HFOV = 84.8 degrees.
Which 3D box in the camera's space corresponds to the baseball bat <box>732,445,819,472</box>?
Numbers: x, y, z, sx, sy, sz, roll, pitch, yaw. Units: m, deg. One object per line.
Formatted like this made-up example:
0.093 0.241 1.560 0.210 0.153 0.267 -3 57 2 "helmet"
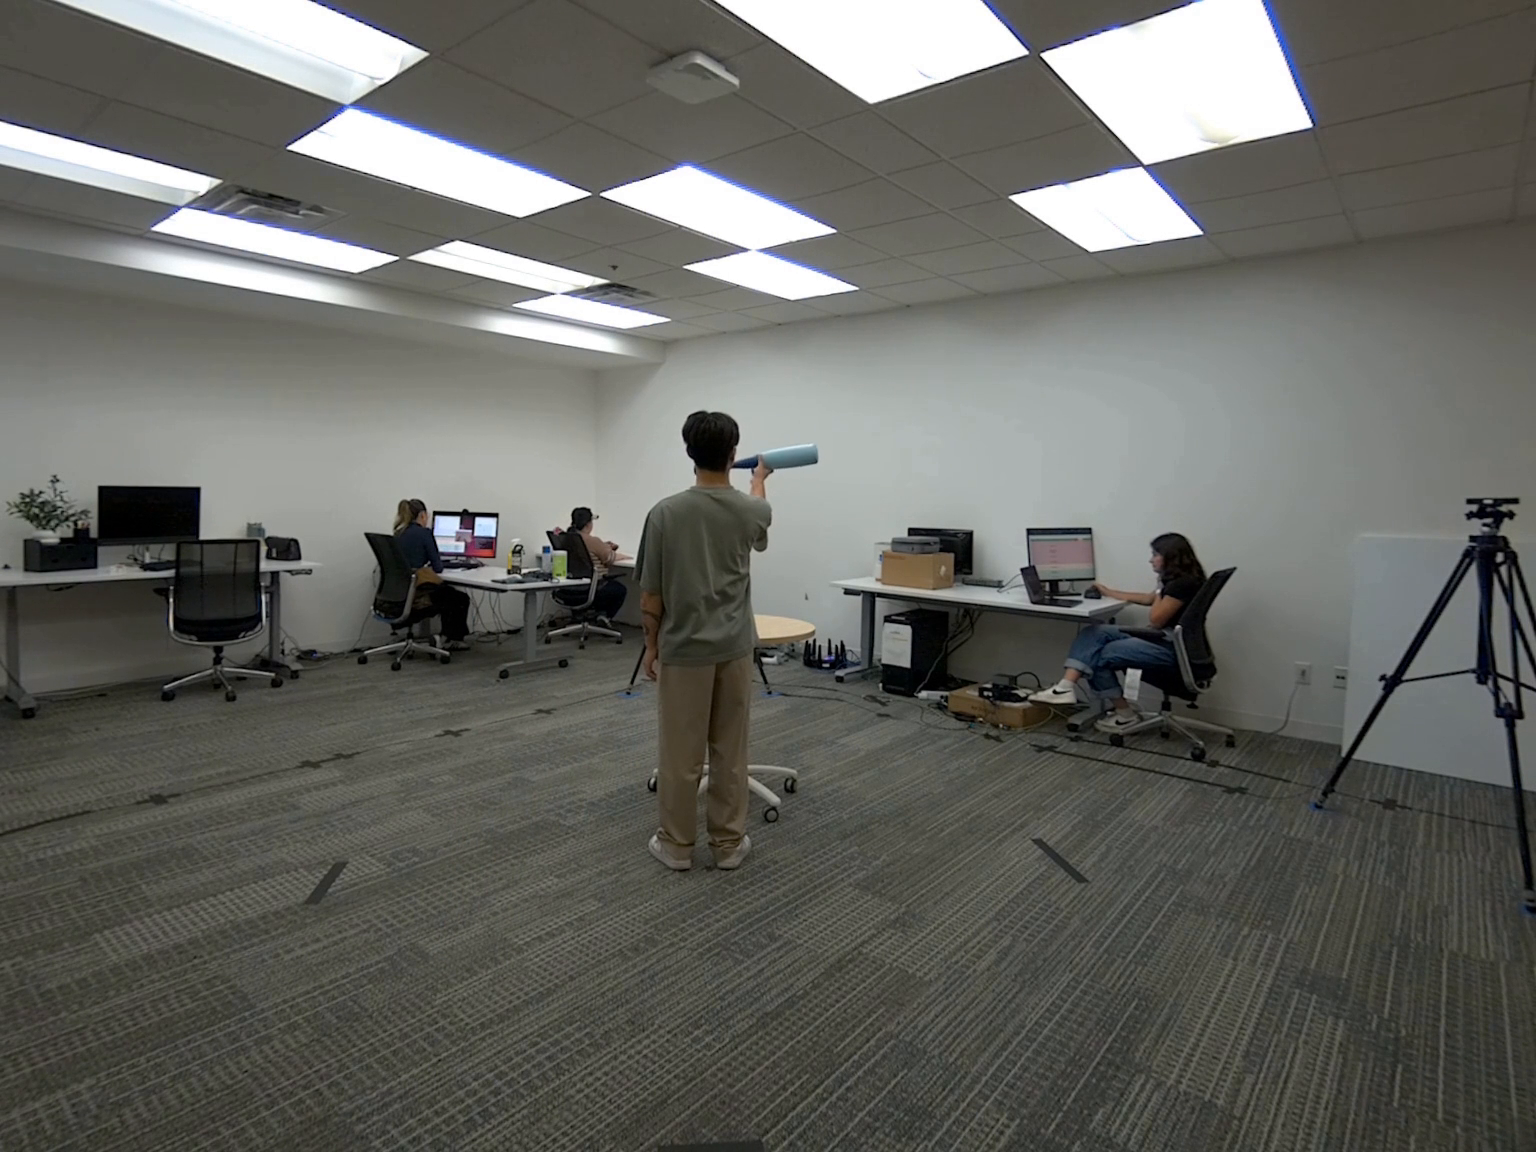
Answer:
-0.069 -0.495 3.676 0.548 0.089 0.088 -7 3 10 "baseball bat"
